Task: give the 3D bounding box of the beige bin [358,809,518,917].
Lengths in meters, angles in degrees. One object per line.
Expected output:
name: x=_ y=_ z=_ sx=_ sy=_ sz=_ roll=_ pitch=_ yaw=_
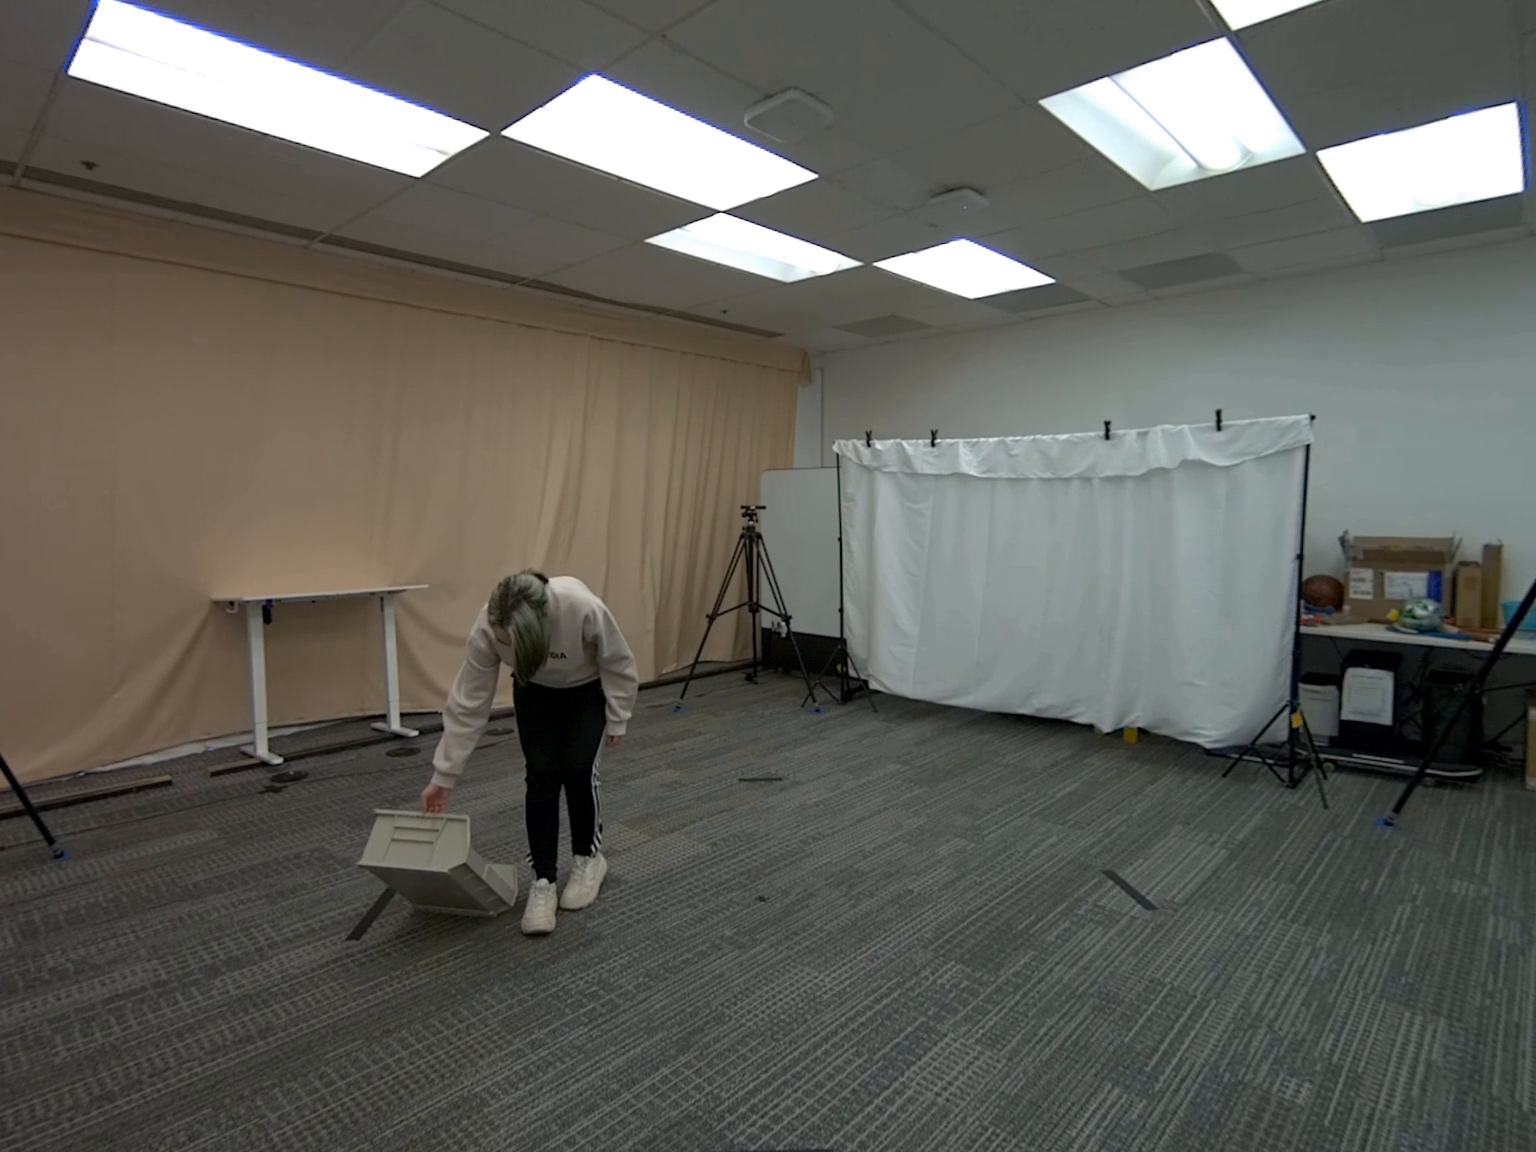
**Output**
beige bin: x=-1.088 y=0.965 z=2.787 sx=0.382 sy=0.191 sz=0.411 roll=0 pitch=-39 yaw=12
